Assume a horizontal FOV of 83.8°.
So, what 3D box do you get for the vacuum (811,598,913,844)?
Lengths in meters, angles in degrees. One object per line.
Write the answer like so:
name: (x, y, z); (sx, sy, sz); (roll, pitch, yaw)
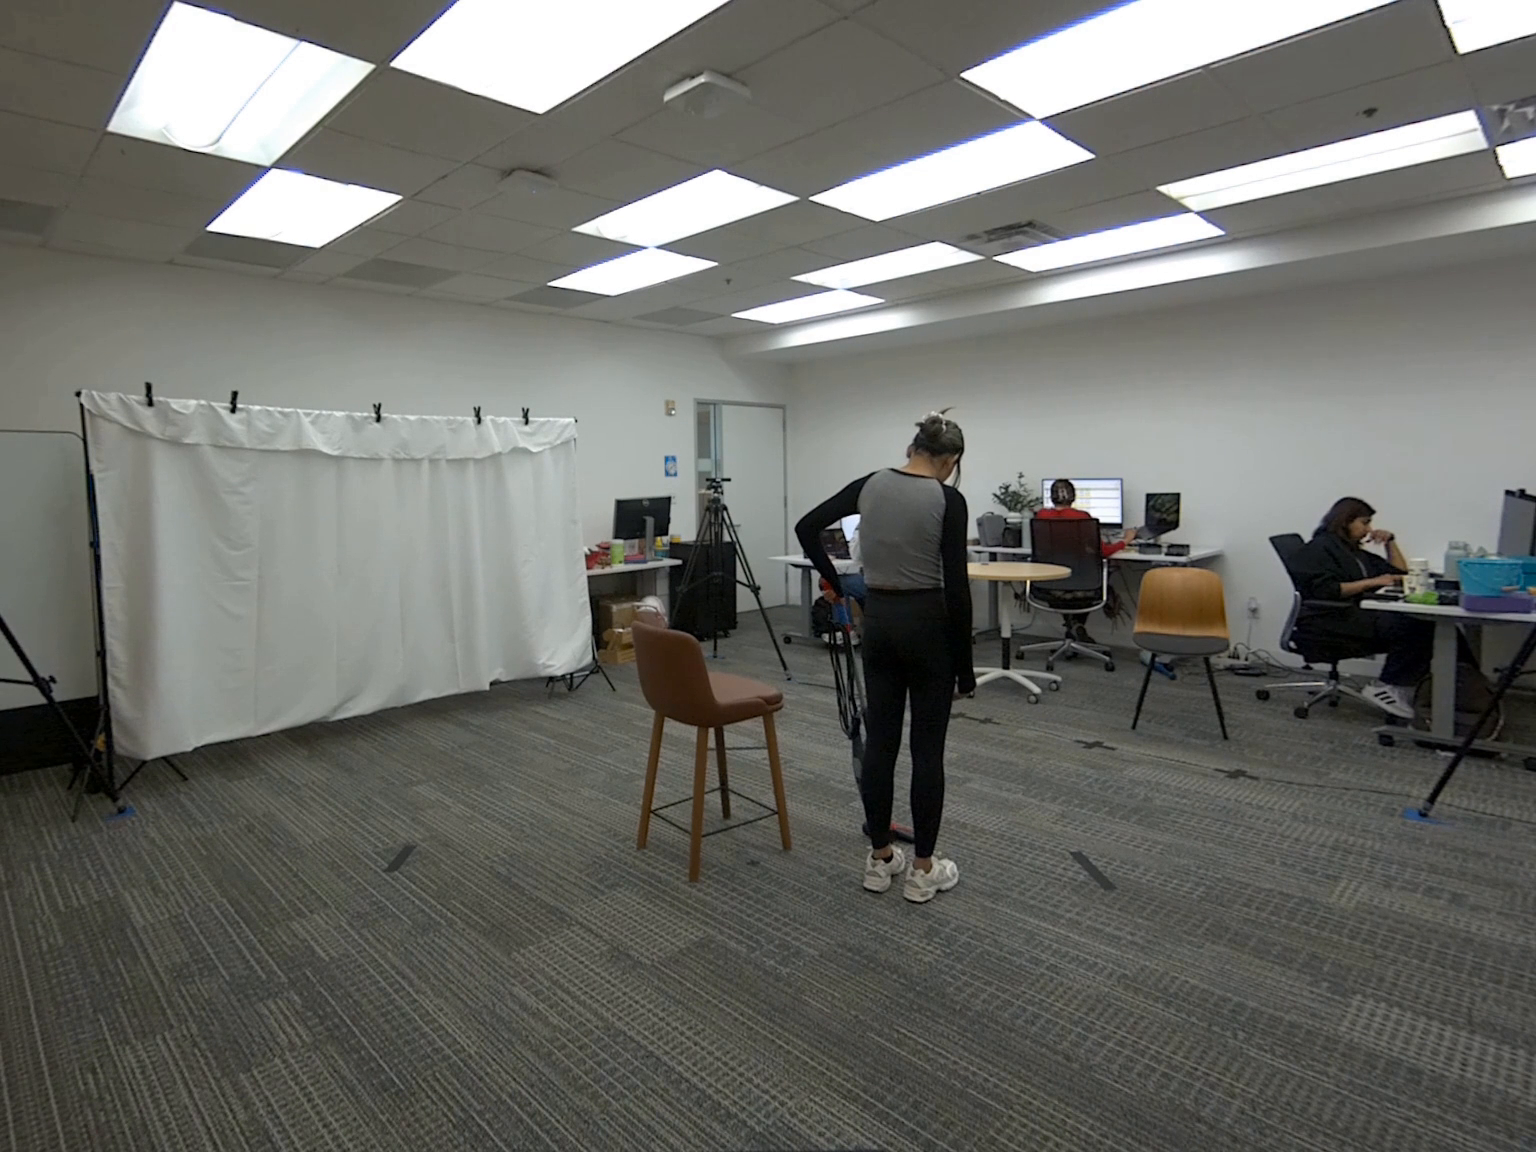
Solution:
vacuum: (0.336, 0.527, 3.233); (0.259, 1.037, 0.142); (-3, 15, 45)
